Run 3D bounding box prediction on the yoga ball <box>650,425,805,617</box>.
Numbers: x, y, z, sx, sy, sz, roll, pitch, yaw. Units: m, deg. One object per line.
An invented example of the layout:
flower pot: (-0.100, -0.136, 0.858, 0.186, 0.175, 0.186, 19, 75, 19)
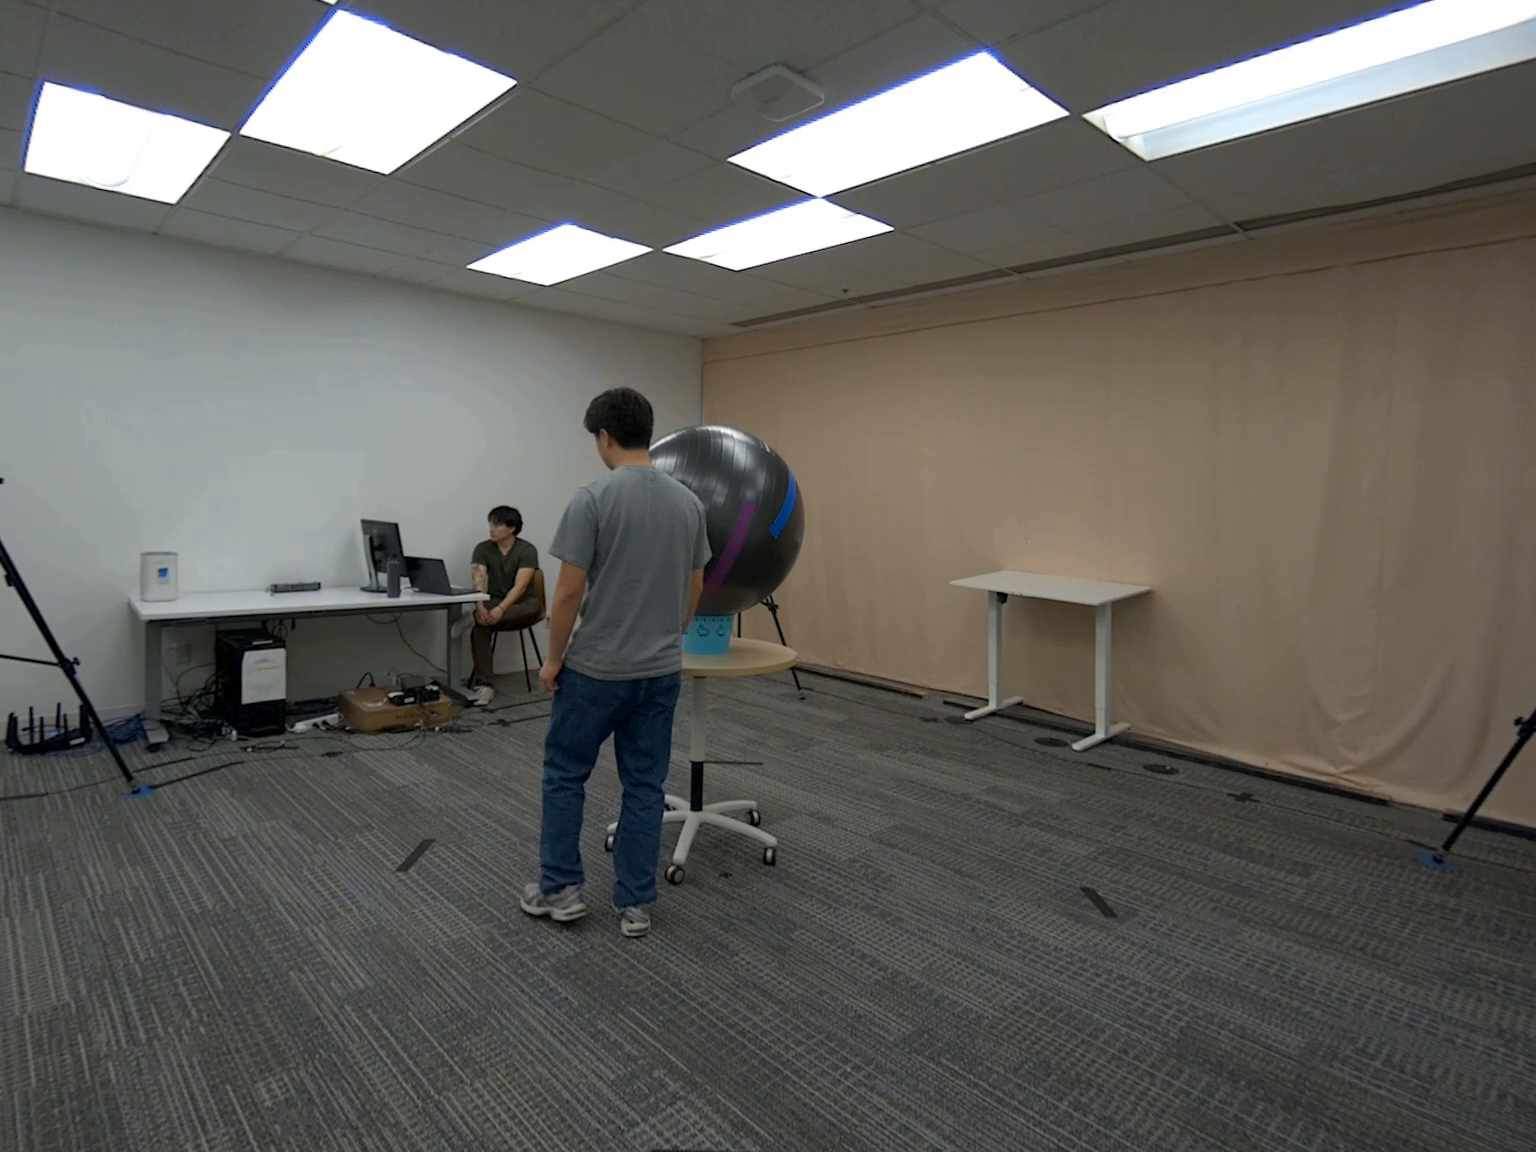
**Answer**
yoga ball: (-0.243, -0.212, 3.327, 0.757, 0.756, 0.761, 1, 4, -1)
